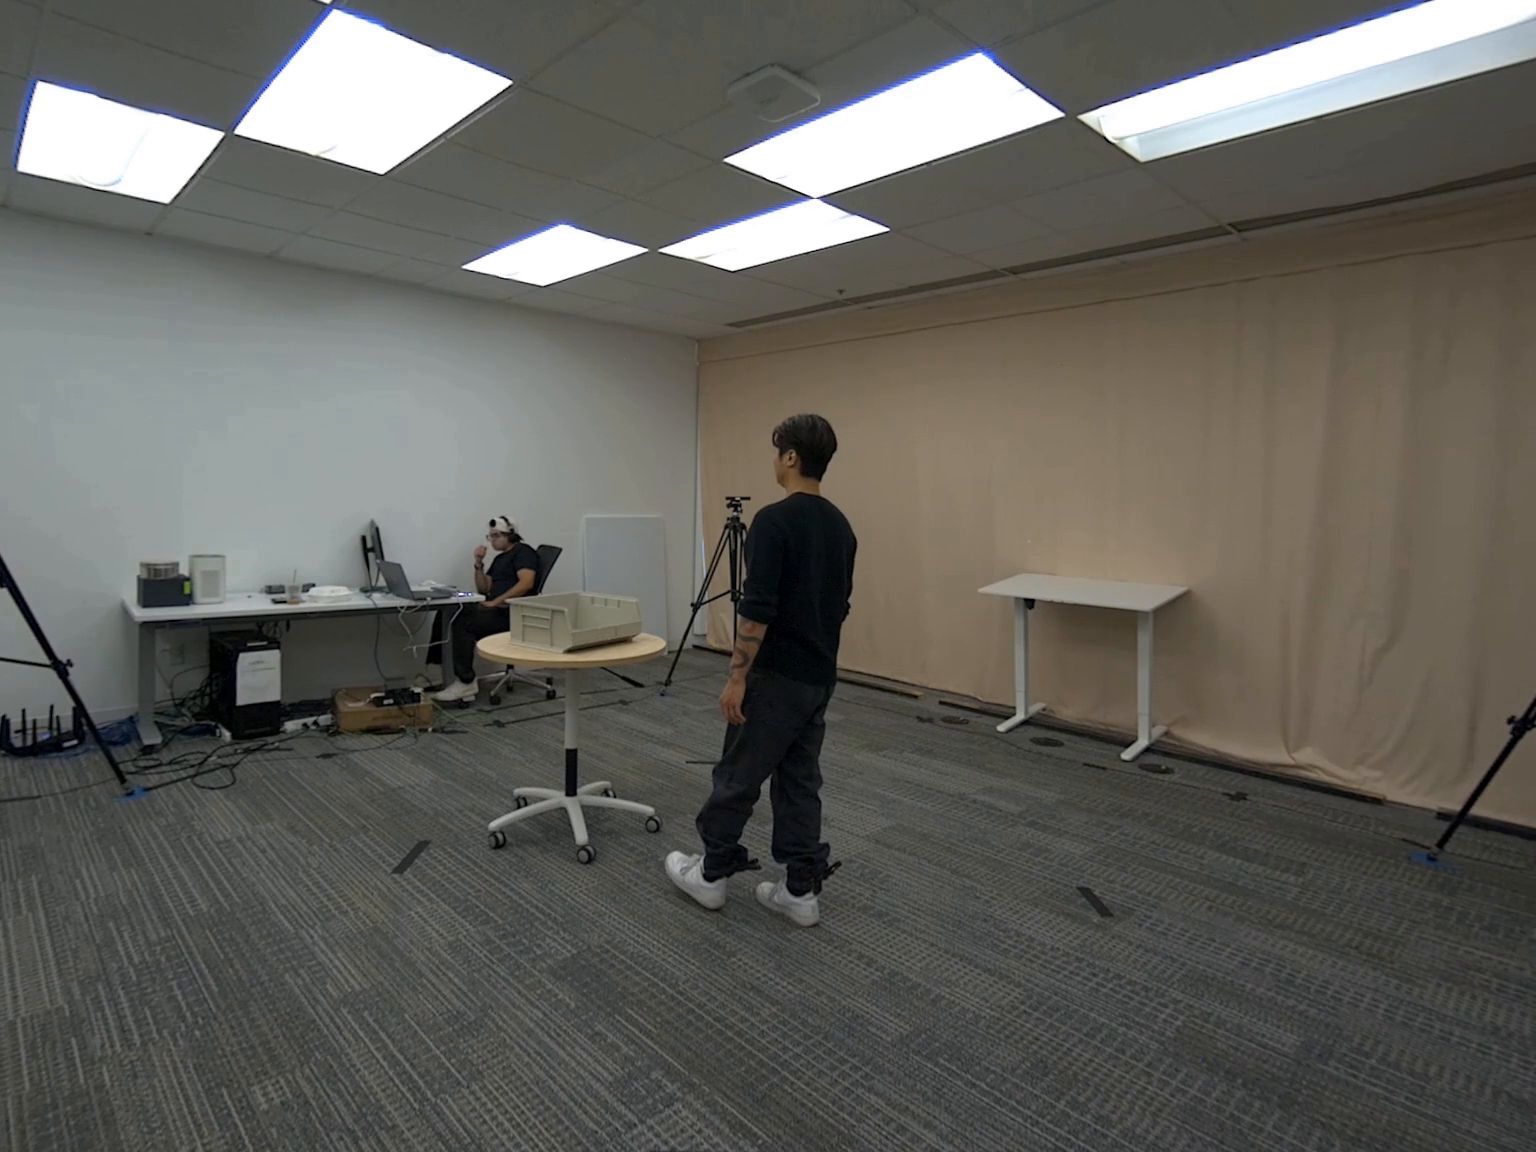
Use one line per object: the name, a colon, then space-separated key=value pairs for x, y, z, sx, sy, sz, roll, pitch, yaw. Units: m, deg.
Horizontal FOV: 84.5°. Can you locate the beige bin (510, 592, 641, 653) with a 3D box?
beige bin: x=-0.804 y=0.188 z=3.473 sx=0.386 sy=0.188 sz=0.414 roll=4 pitch=6 yaw=33
